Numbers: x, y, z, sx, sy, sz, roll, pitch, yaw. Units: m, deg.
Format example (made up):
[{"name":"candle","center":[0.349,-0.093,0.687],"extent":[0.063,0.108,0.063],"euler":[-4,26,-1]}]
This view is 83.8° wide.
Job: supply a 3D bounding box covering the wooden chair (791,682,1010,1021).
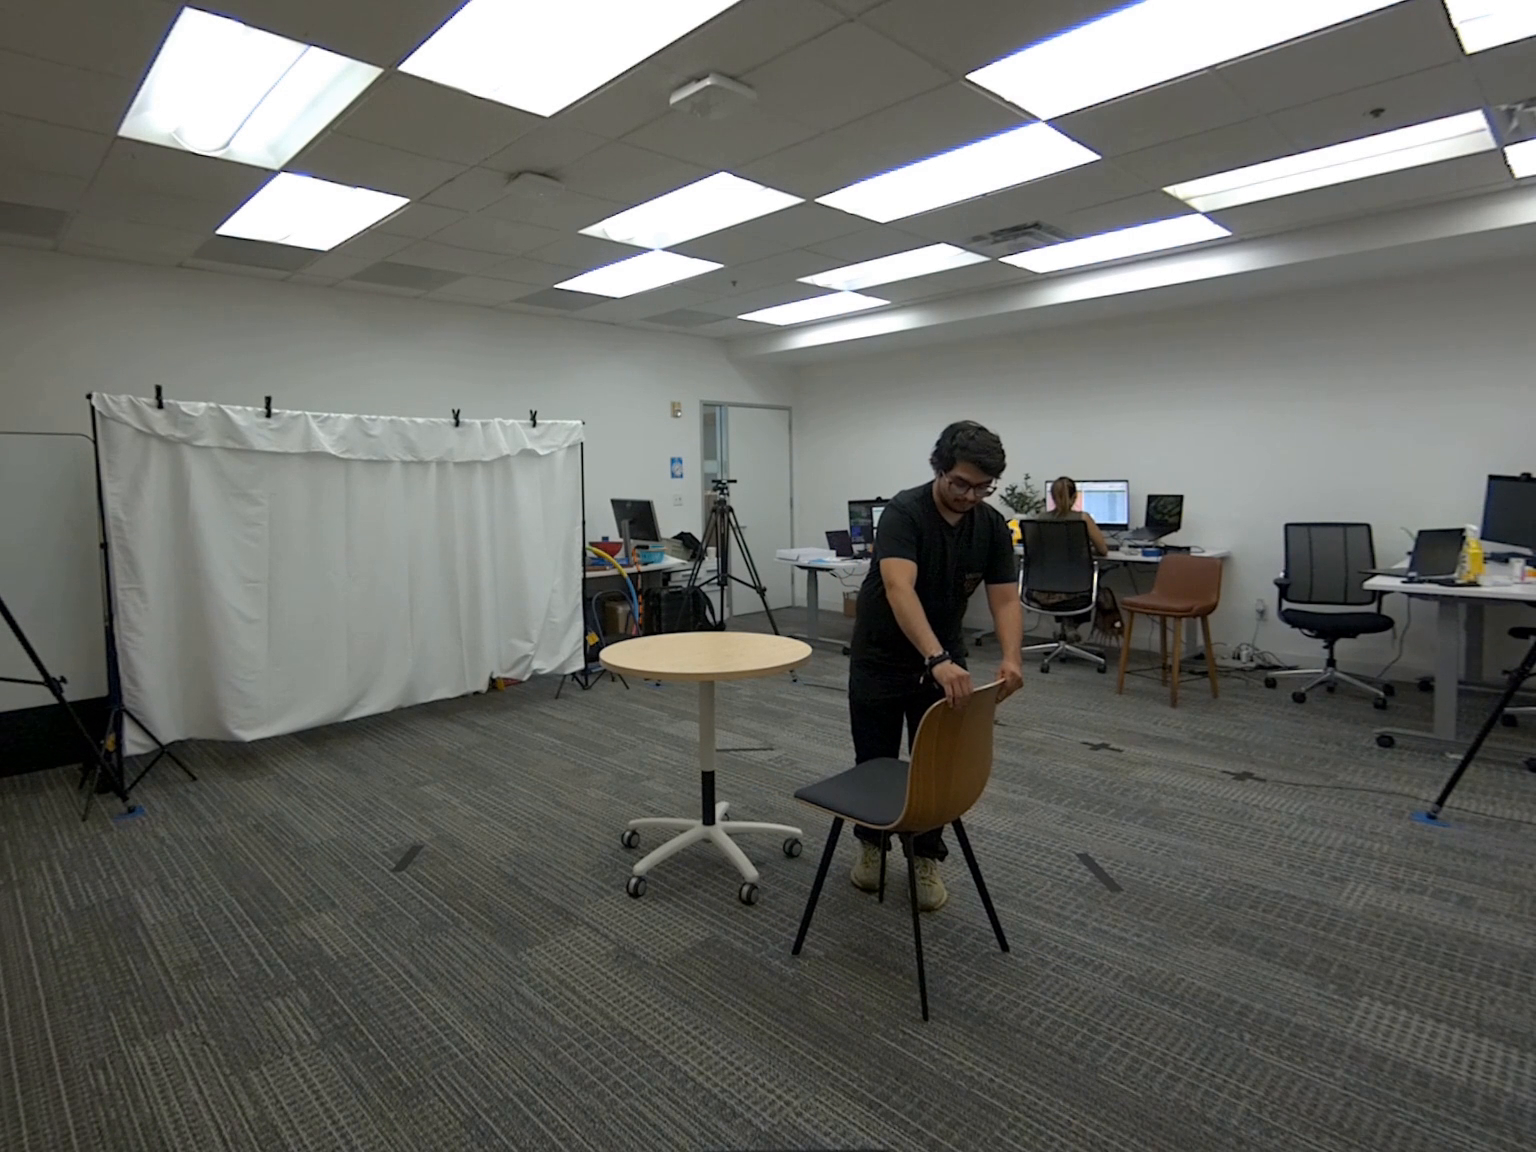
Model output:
[{"name":"wooden chair","center":[0.377,0.683,2.477],"extent":[0.540,0.871,0.466],"euler":[9,11,43]}]
